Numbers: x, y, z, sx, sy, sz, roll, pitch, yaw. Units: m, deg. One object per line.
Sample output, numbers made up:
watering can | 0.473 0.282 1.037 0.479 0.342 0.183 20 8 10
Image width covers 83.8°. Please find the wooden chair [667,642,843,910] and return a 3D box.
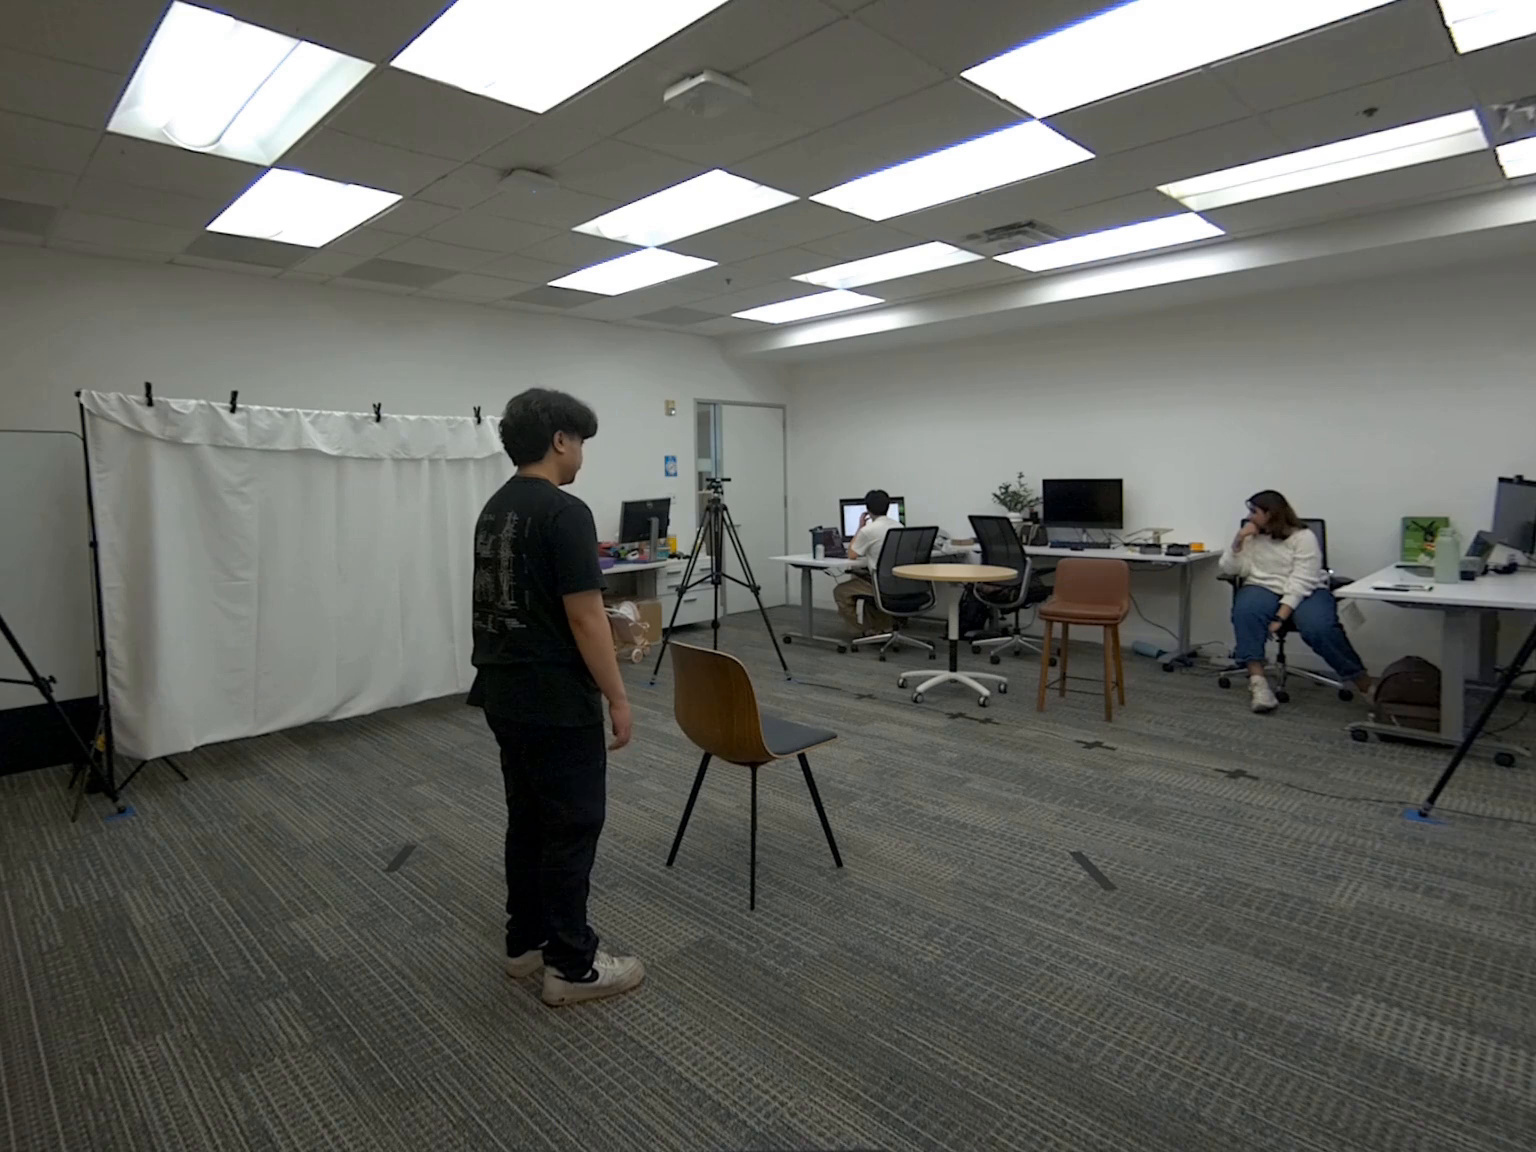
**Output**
wooden chair | -0.049 0.624 3.050 0.511 0.871 0.493 -10 10 -43
